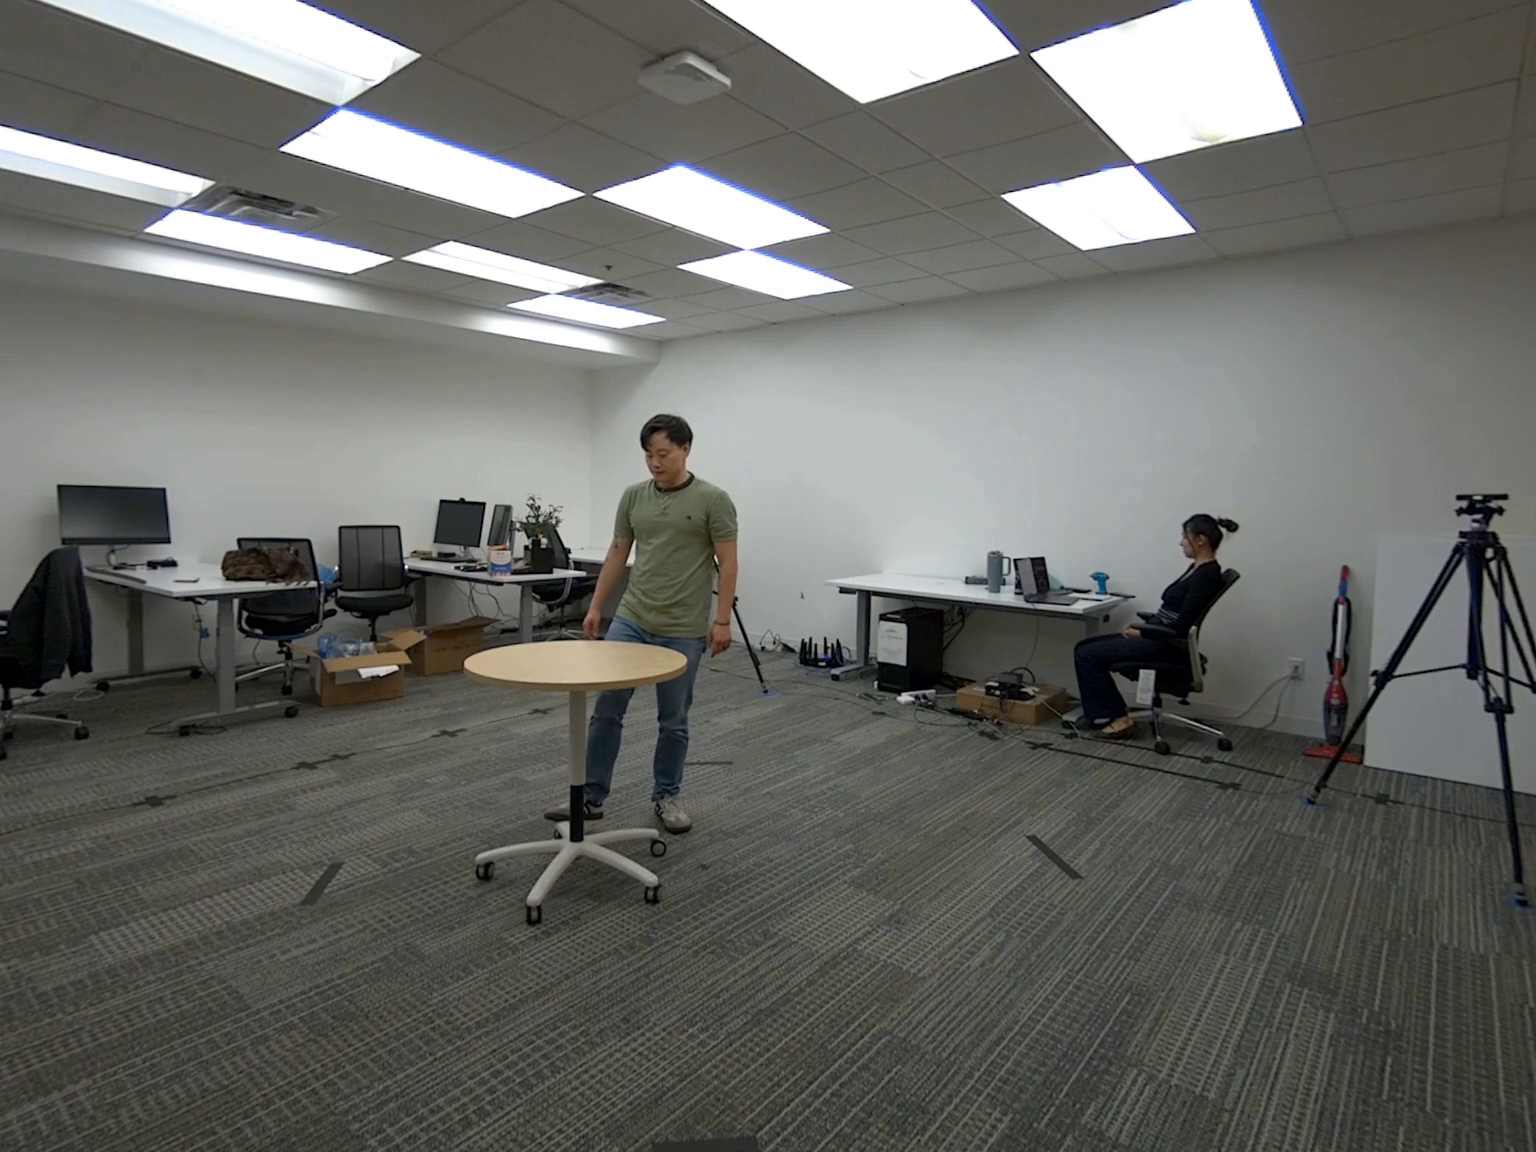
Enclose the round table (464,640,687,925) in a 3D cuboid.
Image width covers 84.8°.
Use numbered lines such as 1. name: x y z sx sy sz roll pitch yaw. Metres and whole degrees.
1. round table: -0.685 0.681 2.982 0.763 0.792 0.767 0 4 -2
